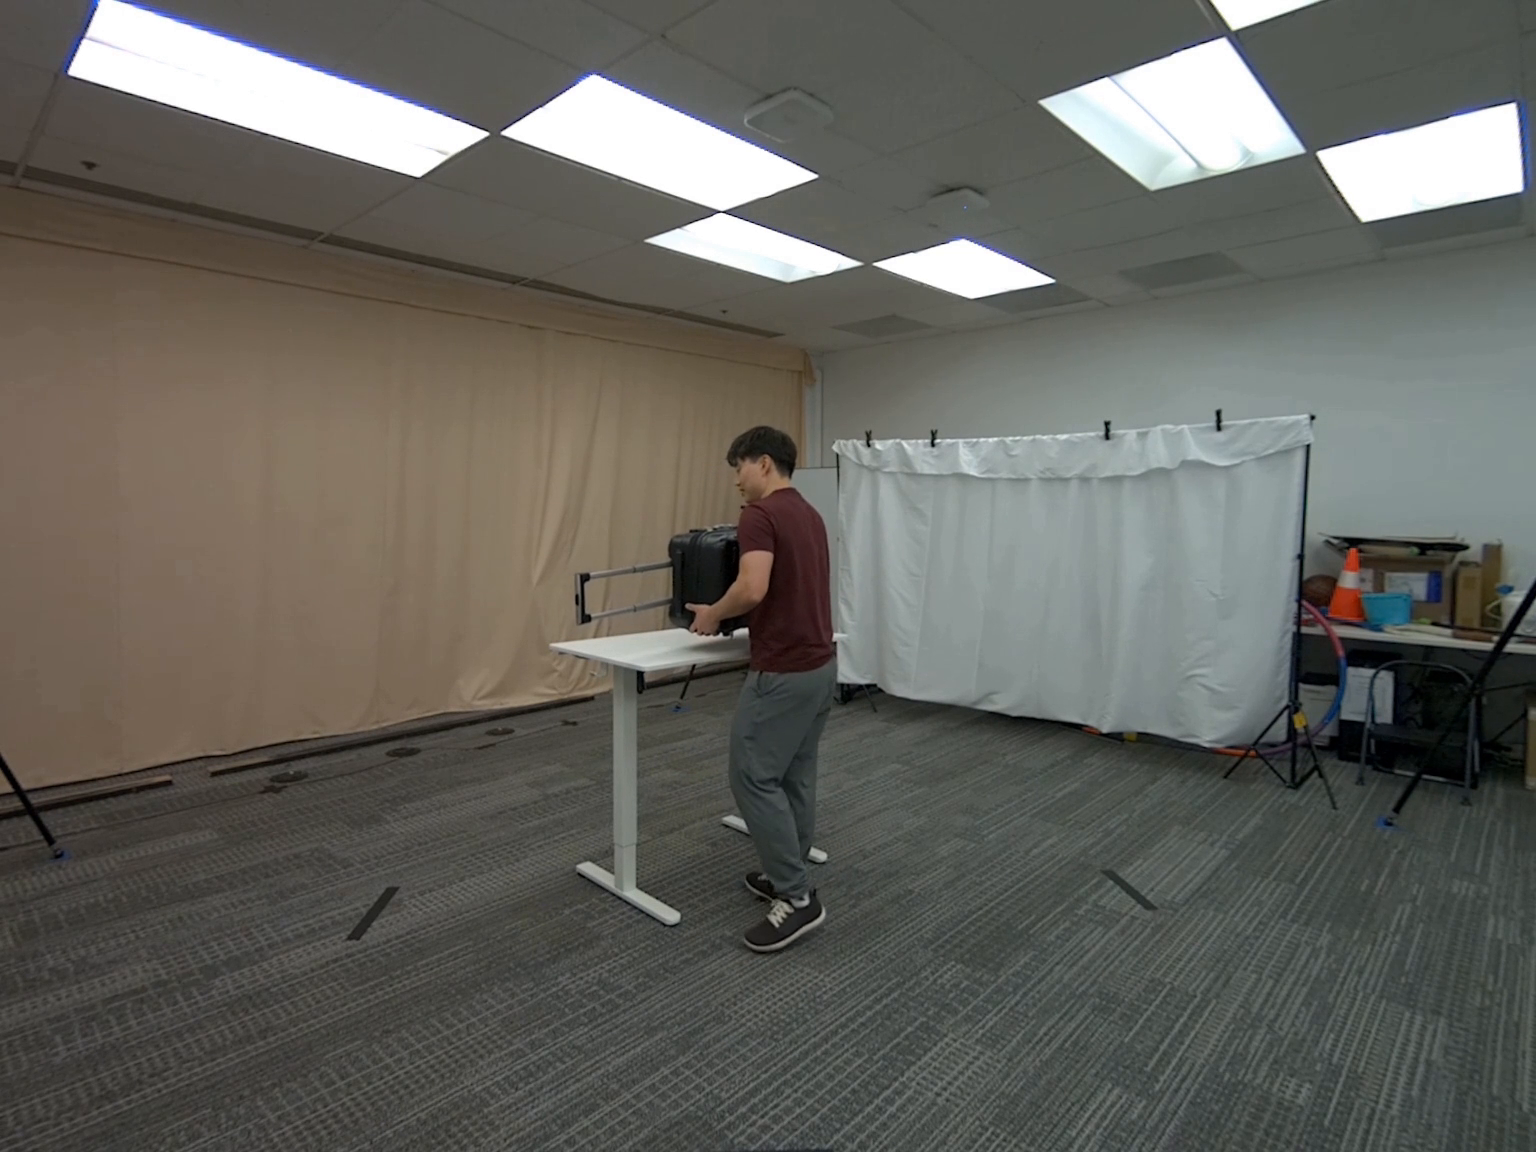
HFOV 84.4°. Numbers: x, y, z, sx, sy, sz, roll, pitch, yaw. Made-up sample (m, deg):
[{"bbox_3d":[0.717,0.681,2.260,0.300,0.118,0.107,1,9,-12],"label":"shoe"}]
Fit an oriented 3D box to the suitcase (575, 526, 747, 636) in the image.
[{"bbox_3d":[-0.244,0.027,2.946,0.265,0.383,0.951,4,6,33],"label":"suitcase"}]
